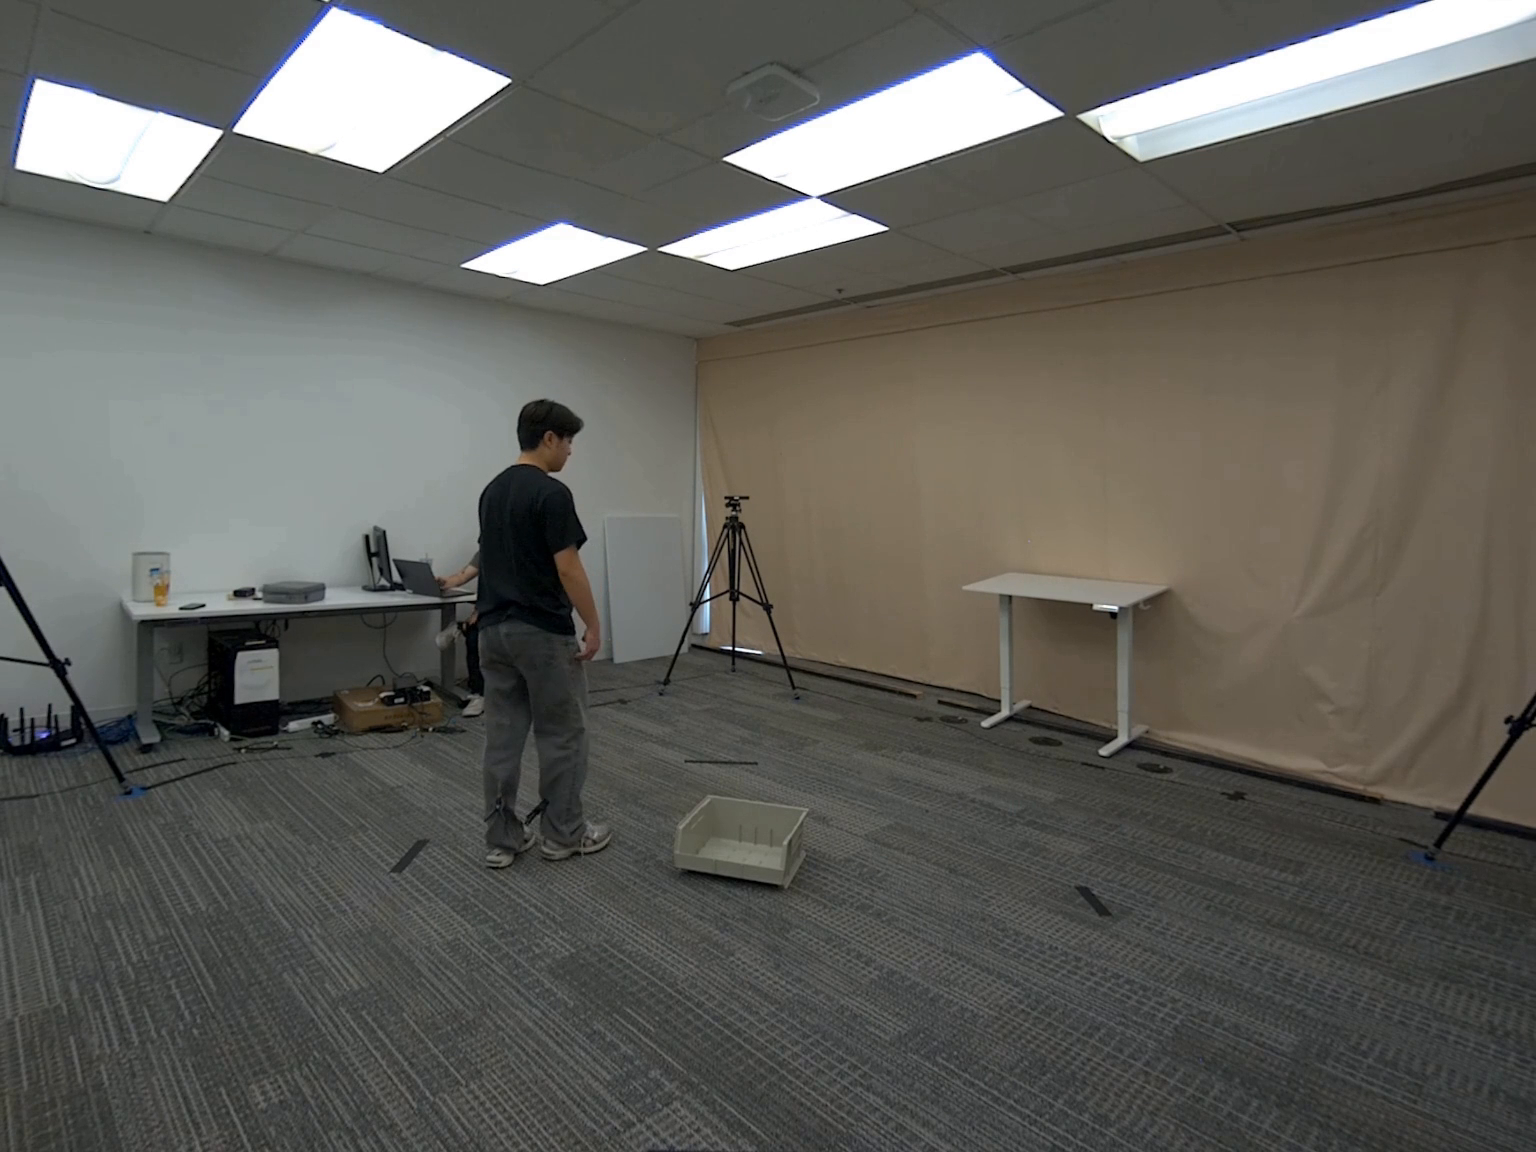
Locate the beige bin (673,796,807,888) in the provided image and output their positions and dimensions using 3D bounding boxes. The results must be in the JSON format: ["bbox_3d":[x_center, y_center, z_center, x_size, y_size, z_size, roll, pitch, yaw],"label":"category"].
[{"bbox_3d":[-0.101,1.006,3.186,0.428,0.188,0.373,2,4,17],"label":"beige bin"}]
